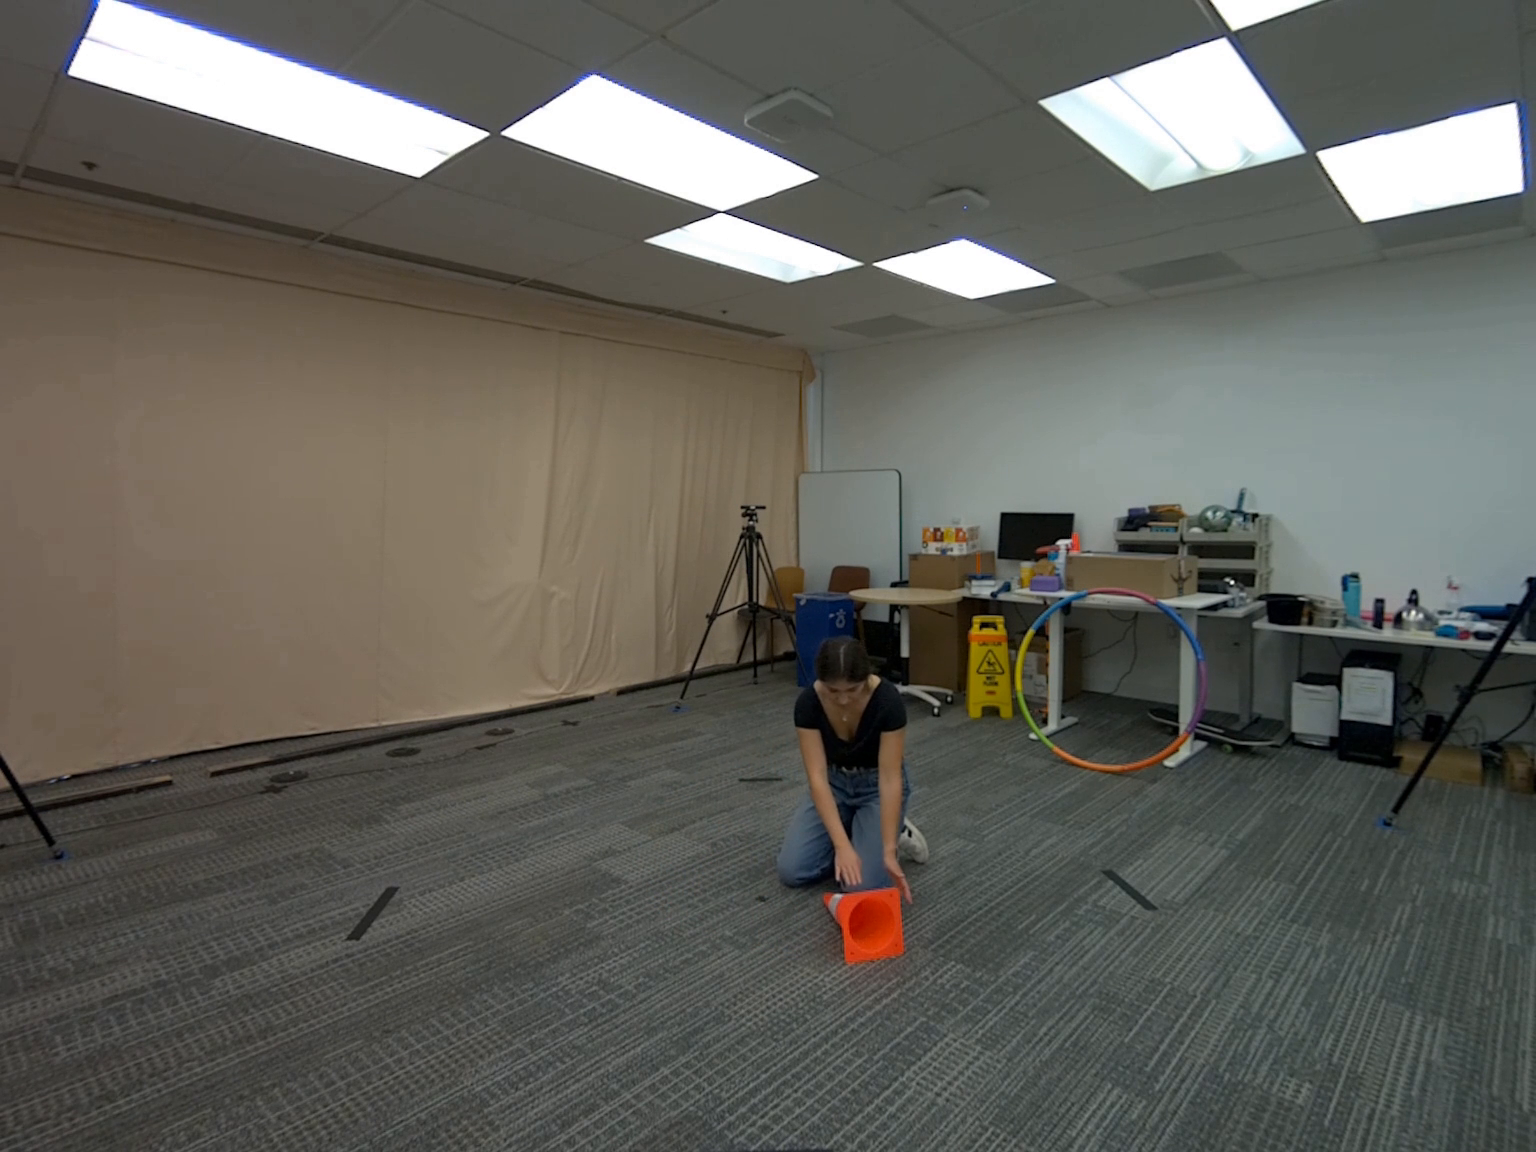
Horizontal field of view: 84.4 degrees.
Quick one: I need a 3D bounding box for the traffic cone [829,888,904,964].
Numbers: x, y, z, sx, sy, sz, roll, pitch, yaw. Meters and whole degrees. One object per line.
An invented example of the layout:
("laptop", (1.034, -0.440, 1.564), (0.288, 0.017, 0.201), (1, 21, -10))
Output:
("traffic cone", (0.262, 1.104, 2.781), (0.200, 0.206, 0.387), (-3, -9, -16))
